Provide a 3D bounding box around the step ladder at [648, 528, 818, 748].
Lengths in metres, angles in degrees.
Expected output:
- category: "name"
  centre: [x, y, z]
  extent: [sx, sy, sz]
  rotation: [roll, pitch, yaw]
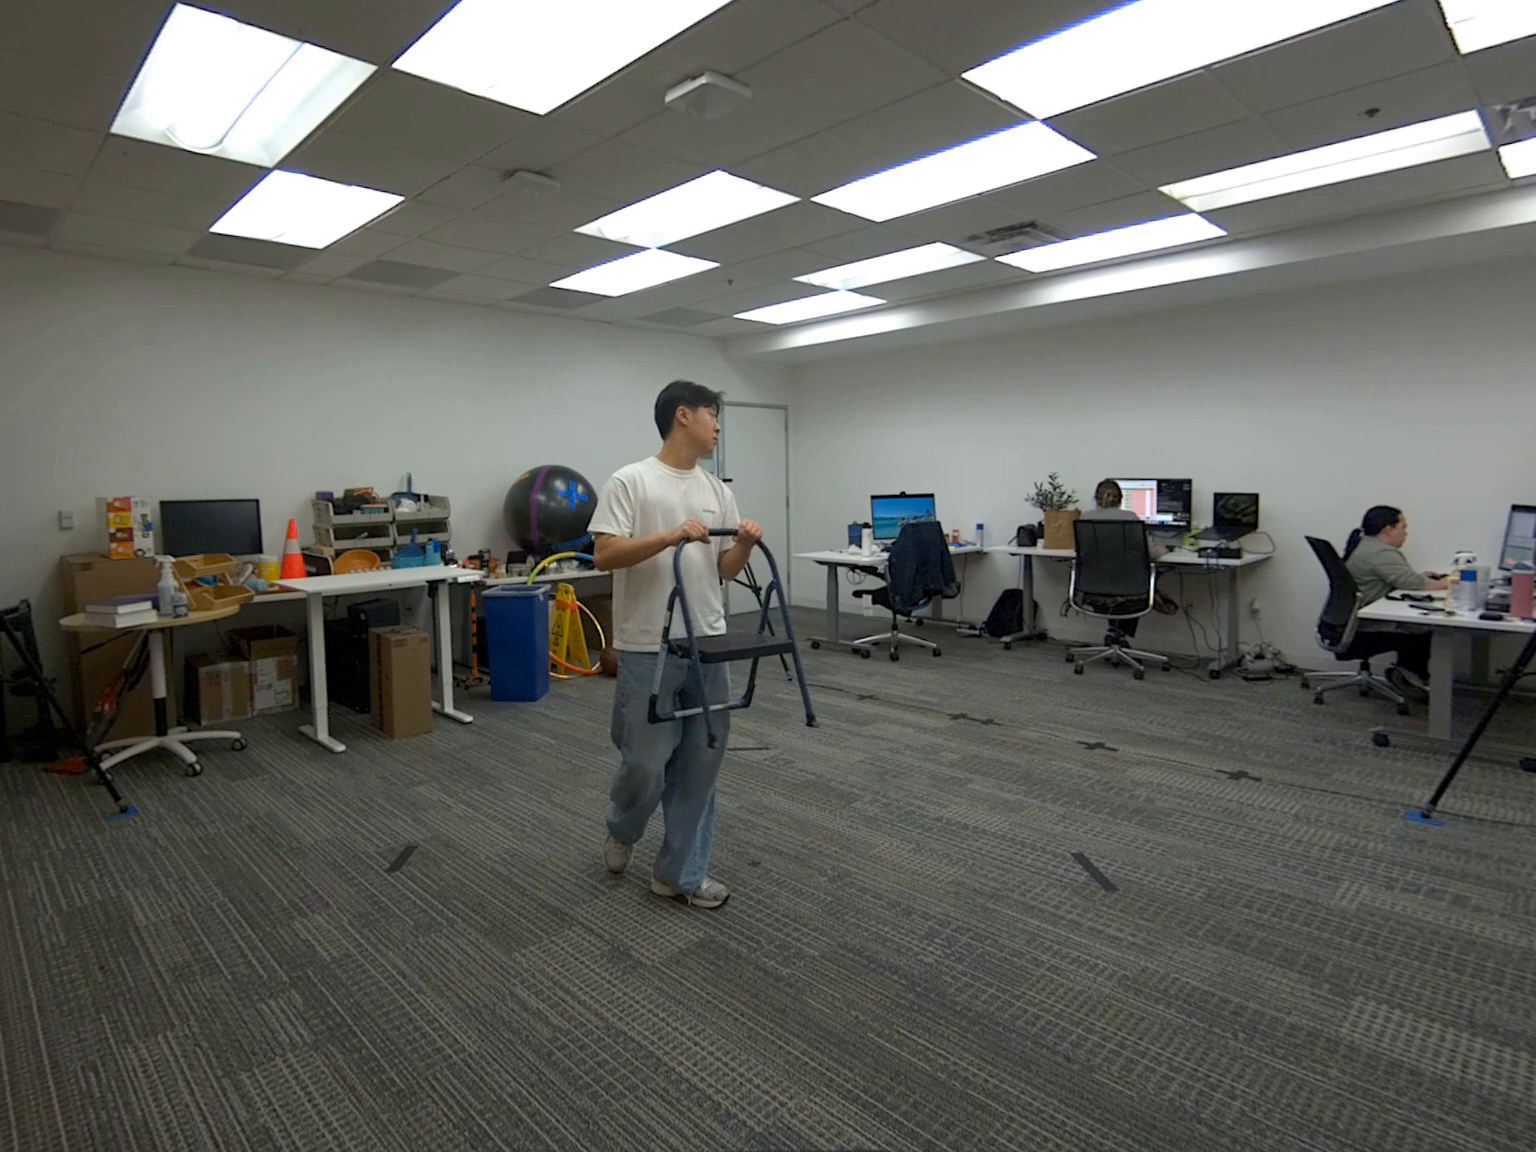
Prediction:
- category: "step ladder"
  centre: [-0.103, 0.166, 2.641]
  extent: [0.418, 0.605, 0.360]
  rotation: [-1, 3, -42]
